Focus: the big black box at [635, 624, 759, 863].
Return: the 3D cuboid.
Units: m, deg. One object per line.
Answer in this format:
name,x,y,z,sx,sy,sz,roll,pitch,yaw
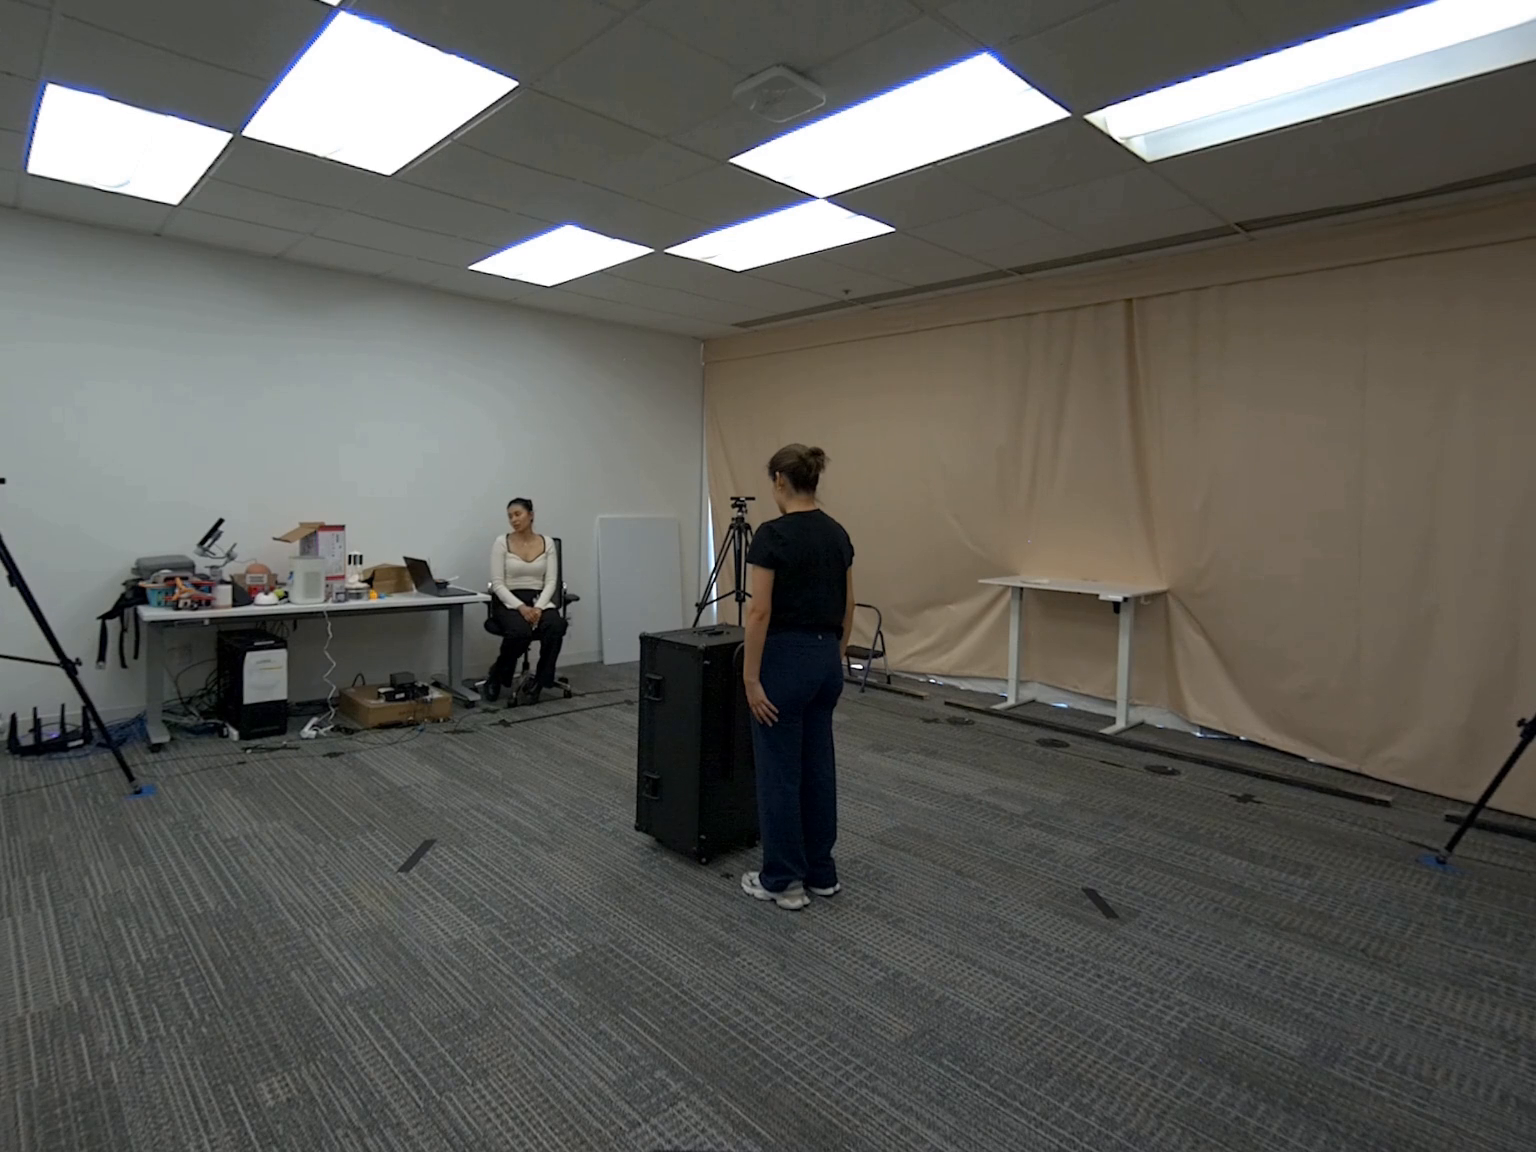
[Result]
big black box,-0.236,0.656,3.364,0.406,0.859,0.509,4,5,41
